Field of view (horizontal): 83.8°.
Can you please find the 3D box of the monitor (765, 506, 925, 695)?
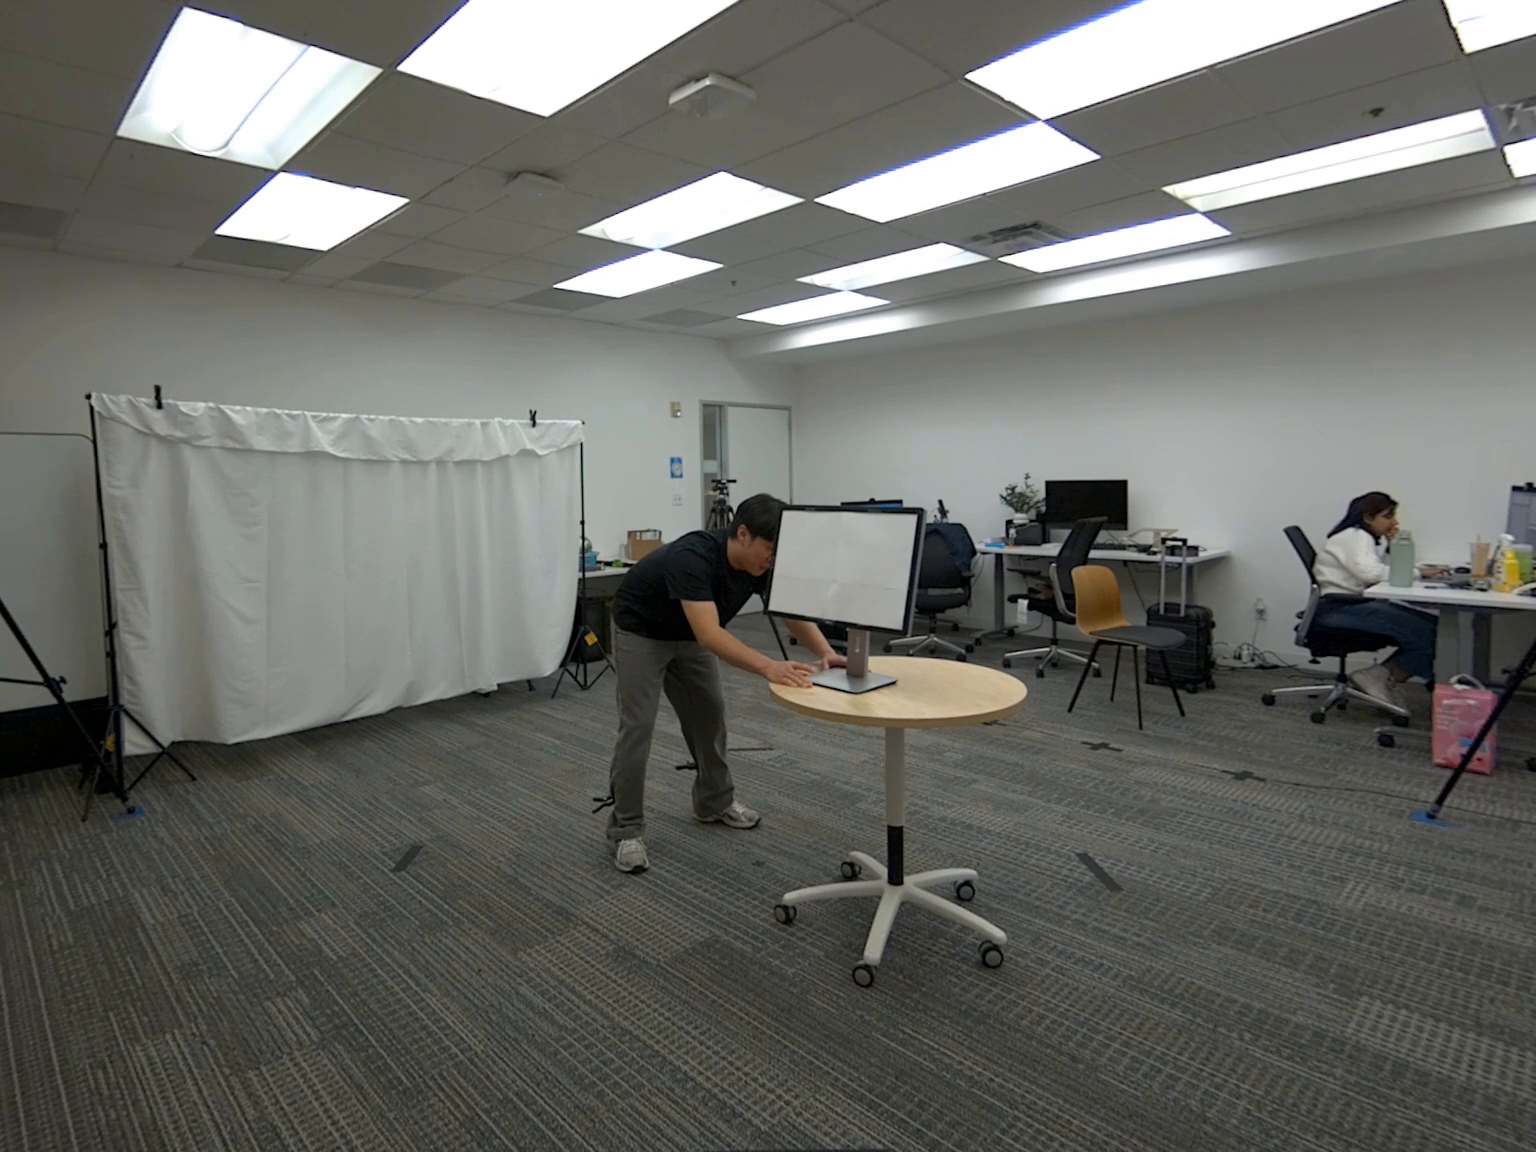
[{"bbox_3d":[0.265,0.059,2.626,0.204,0.554,0.583,4,0,-45],"label":"monitor"}]
